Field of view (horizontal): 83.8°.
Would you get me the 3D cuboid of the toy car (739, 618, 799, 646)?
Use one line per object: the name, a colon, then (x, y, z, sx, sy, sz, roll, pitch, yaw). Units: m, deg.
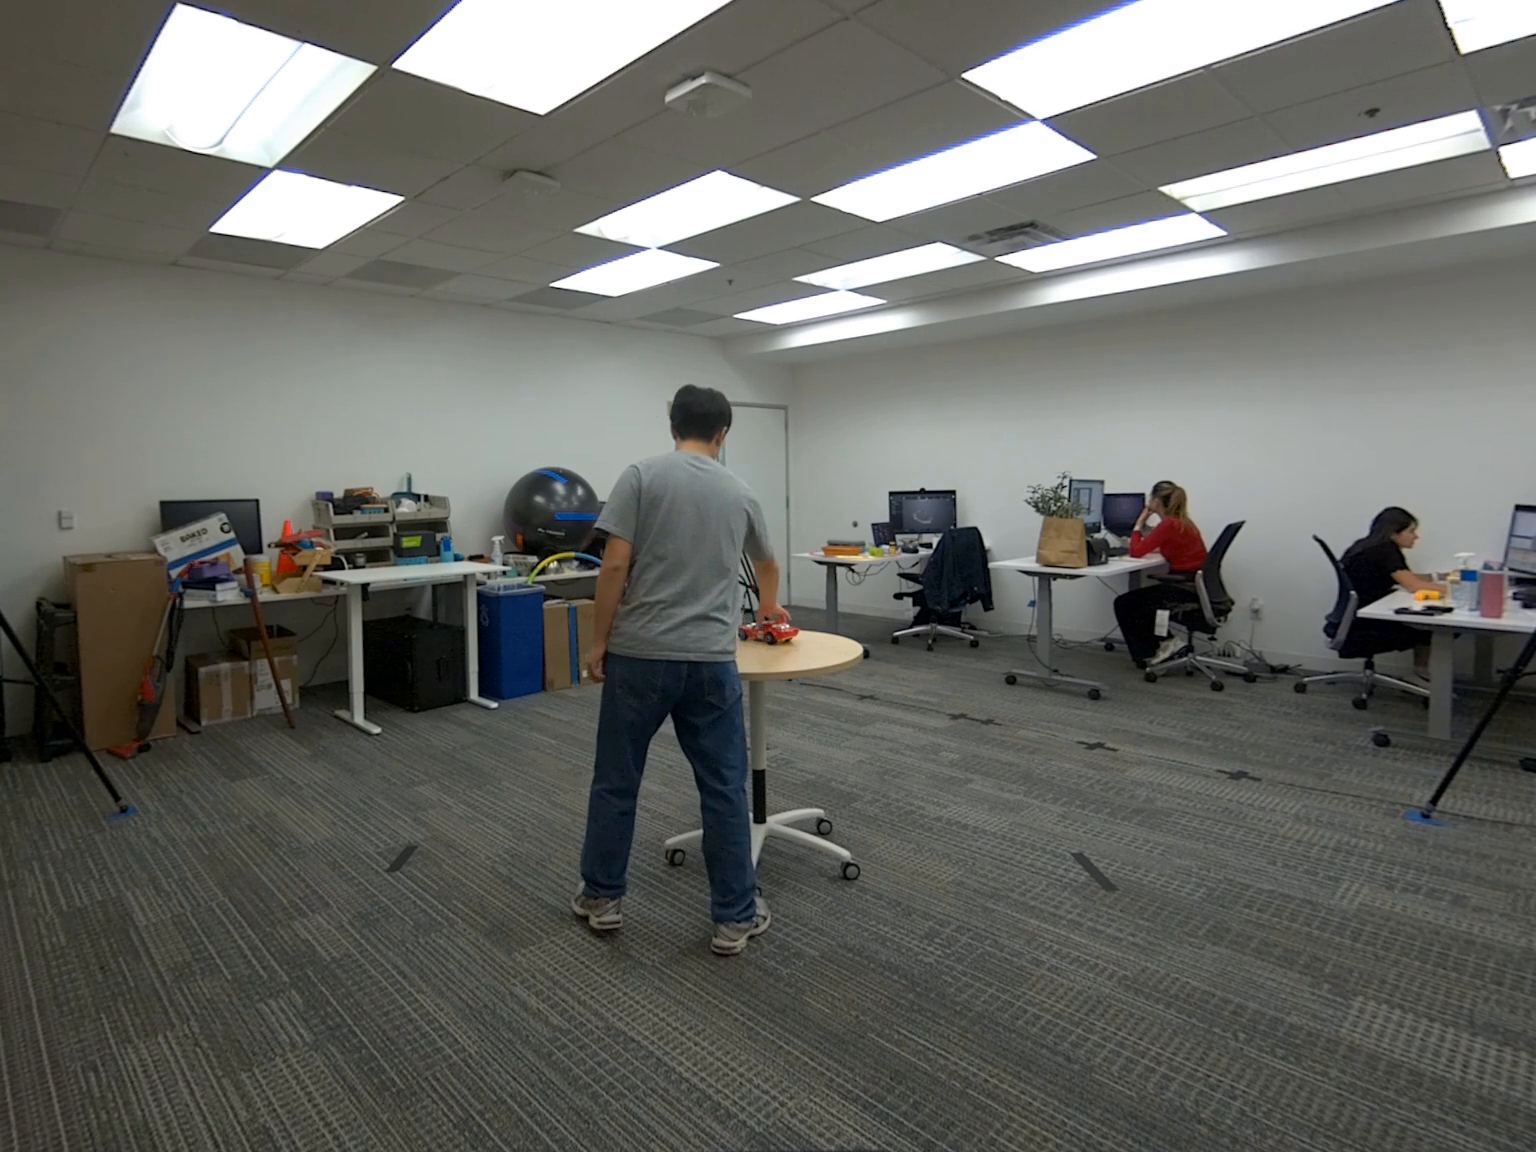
toy car: (0.011, 0.216, 3.225, 0.127, 0.083, 0.260, -6, -3, -44)
